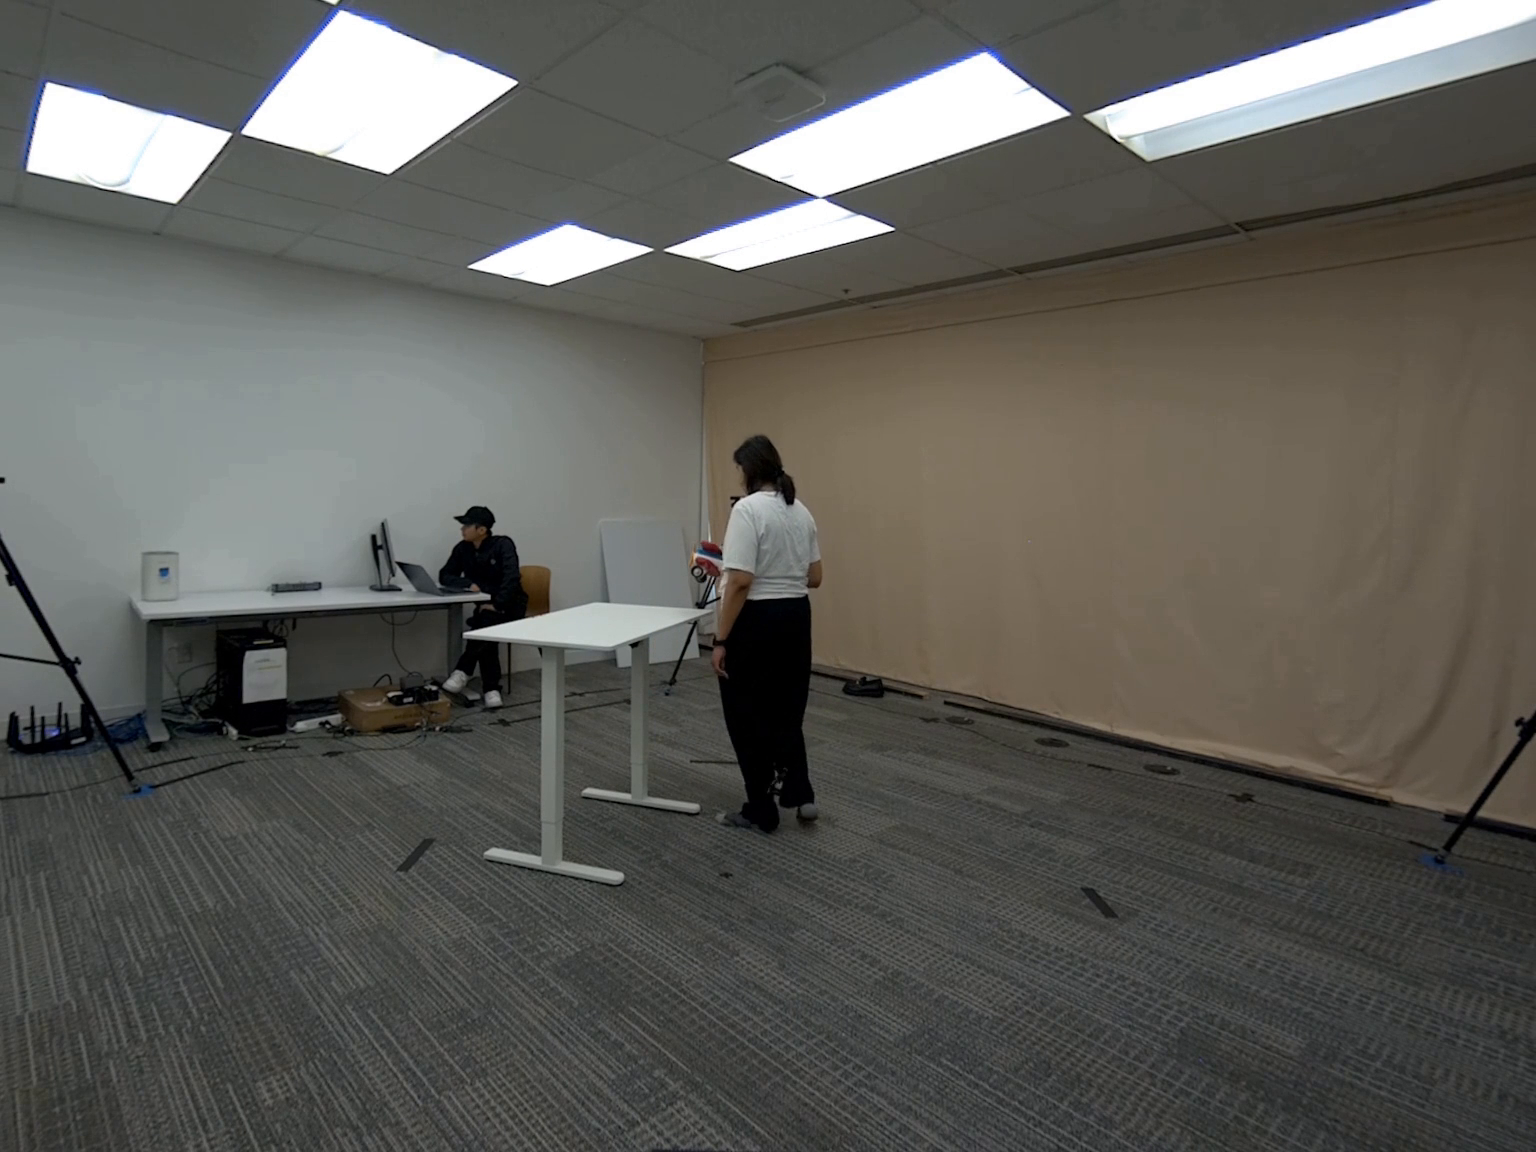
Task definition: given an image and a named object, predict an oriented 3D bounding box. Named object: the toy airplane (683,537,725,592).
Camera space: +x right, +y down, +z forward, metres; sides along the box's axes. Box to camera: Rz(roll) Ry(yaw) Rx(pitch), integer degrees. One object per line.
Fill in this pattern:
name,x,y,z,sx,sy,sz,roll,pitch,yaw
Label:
toy airplane,-0.215,-0.044,3.775,0.255,0.158,0.252,10,-18,-17
